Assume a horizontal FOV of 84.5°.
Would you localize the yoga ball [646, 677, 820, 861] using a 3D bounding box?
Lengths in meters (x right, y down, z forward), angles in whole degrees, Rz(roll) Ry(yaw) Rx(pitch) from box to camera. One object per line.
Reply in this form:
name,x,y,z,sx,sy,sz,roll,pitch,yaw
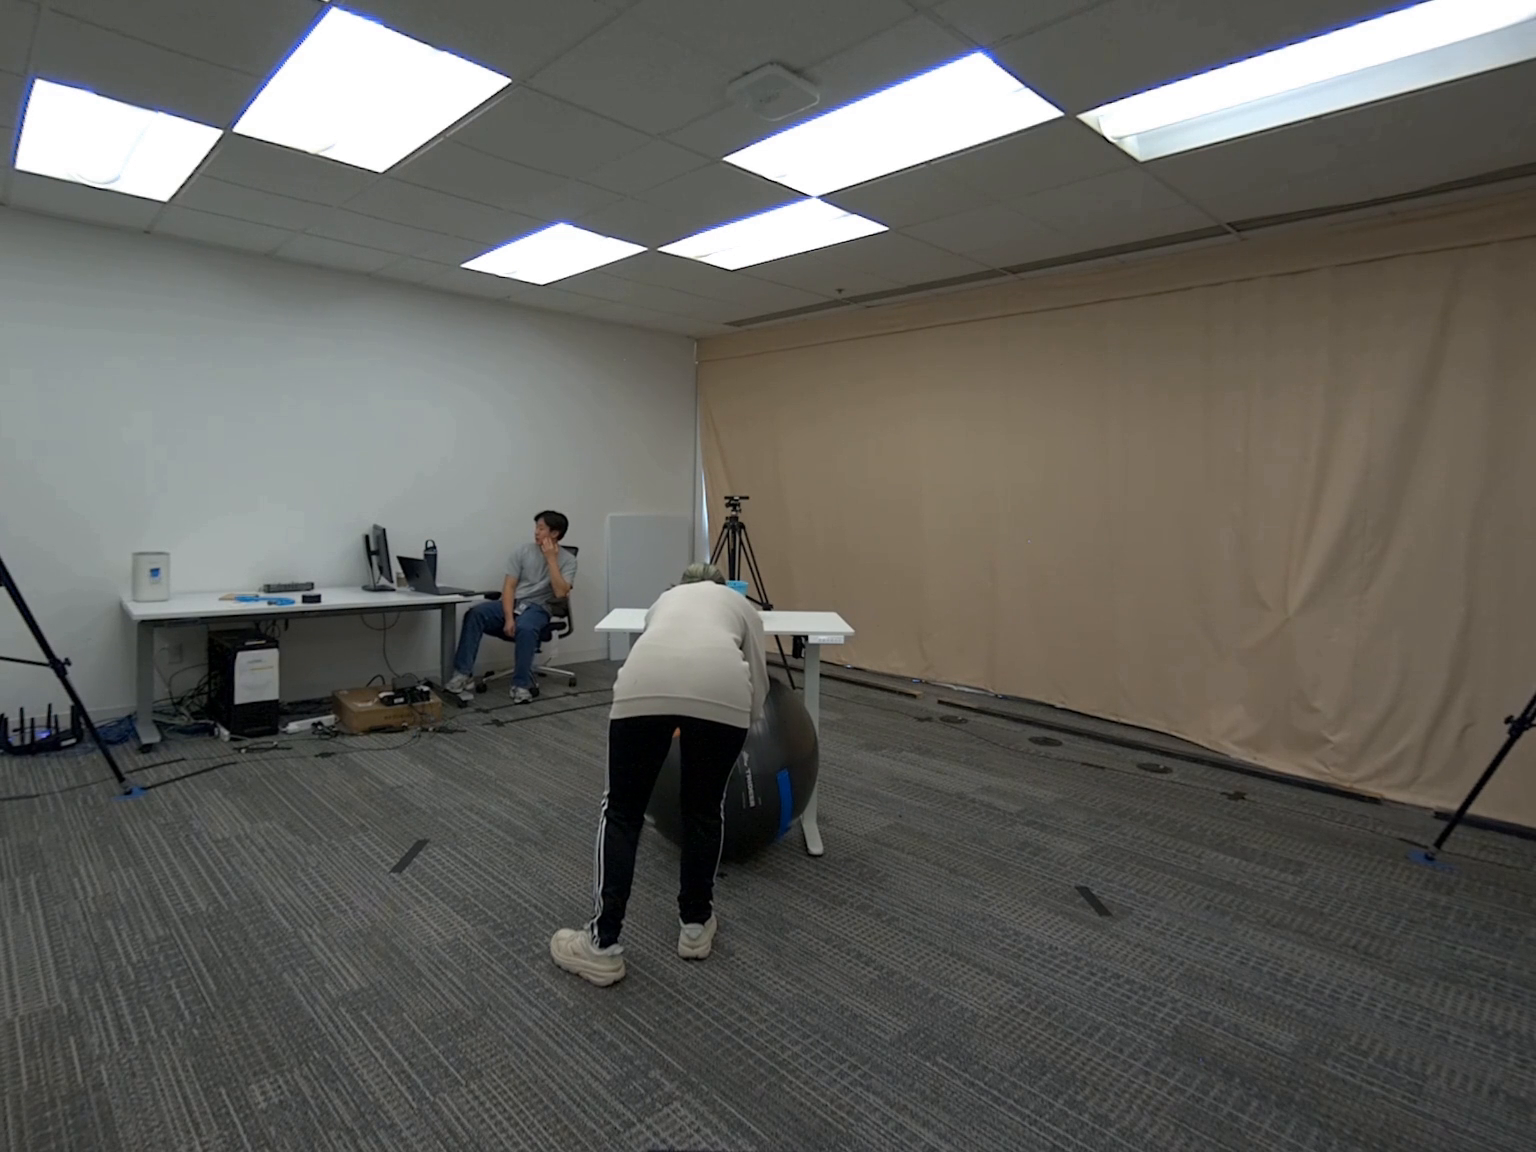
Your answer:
yoga ball,-0.182,0.715,3.326,0.757,0.756,0.761,1,4,-1
